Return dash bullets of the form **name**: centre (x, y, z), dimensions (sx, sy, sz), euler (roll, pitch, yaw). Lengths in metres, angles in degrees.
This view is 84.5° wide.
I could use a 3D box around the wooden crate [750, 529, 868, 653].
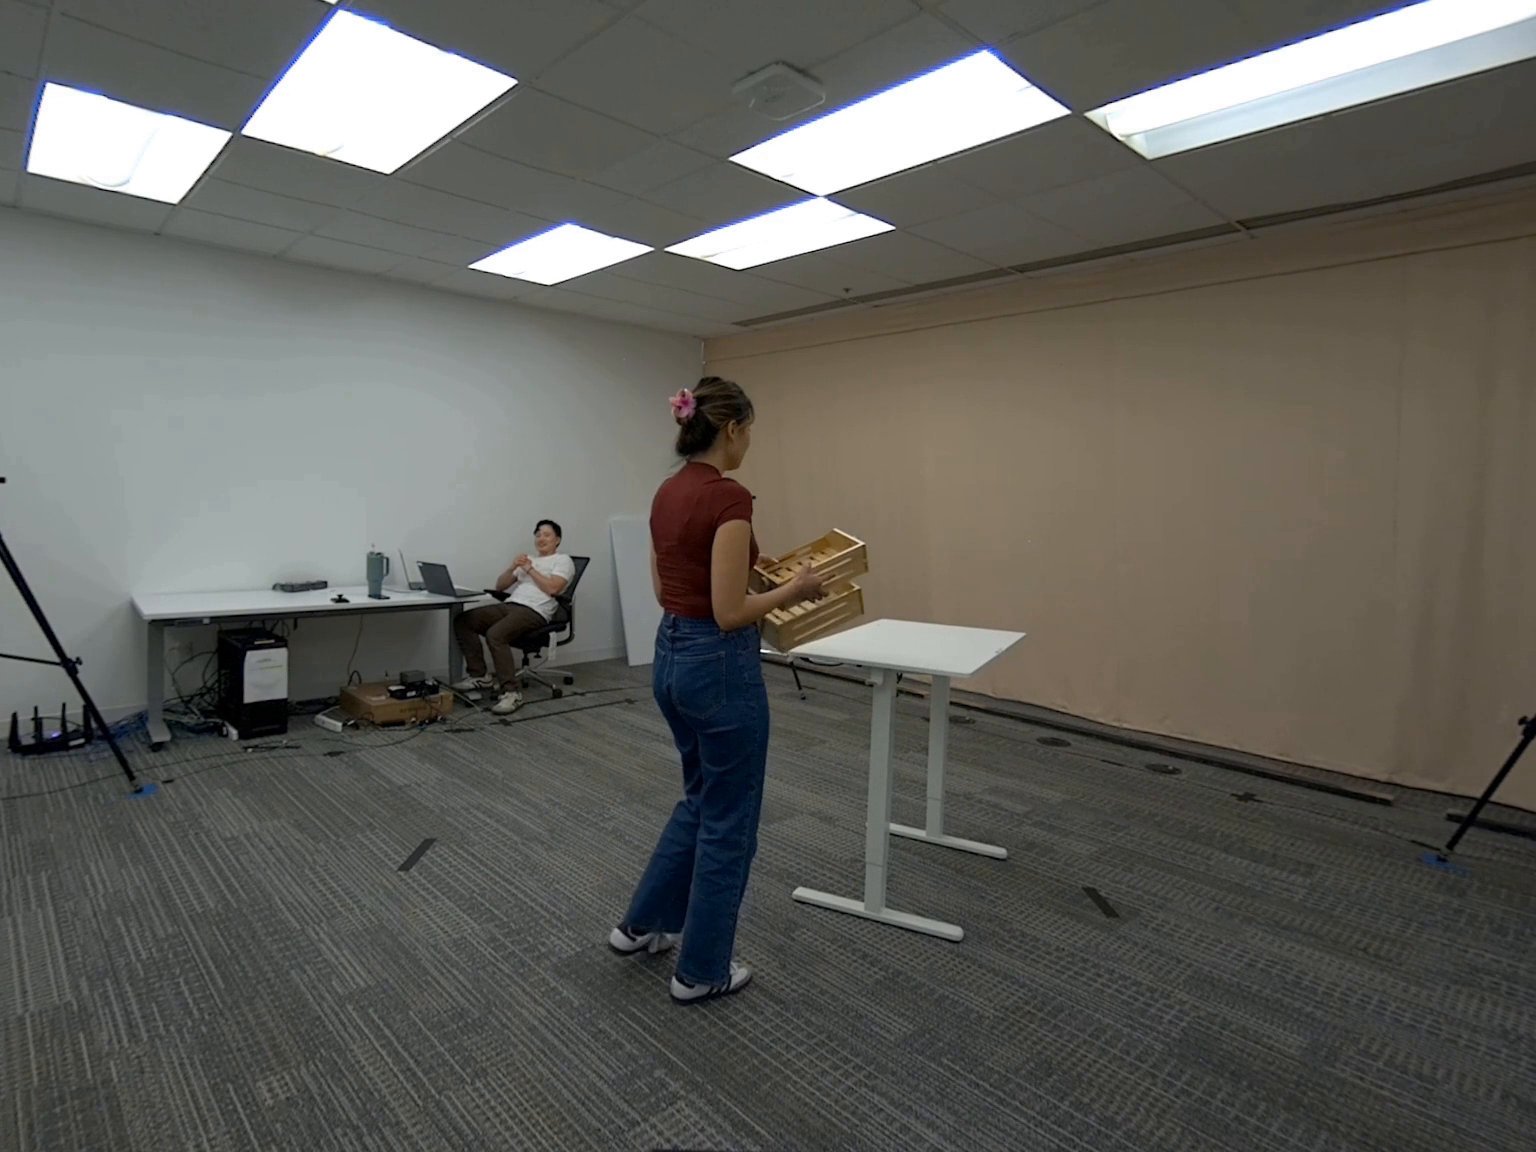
- **wooden crate**: centre (0.091, 0.024, 2.518), dimensions (0.321, 0.267, 0.311), euler (-24, 31, -23)
